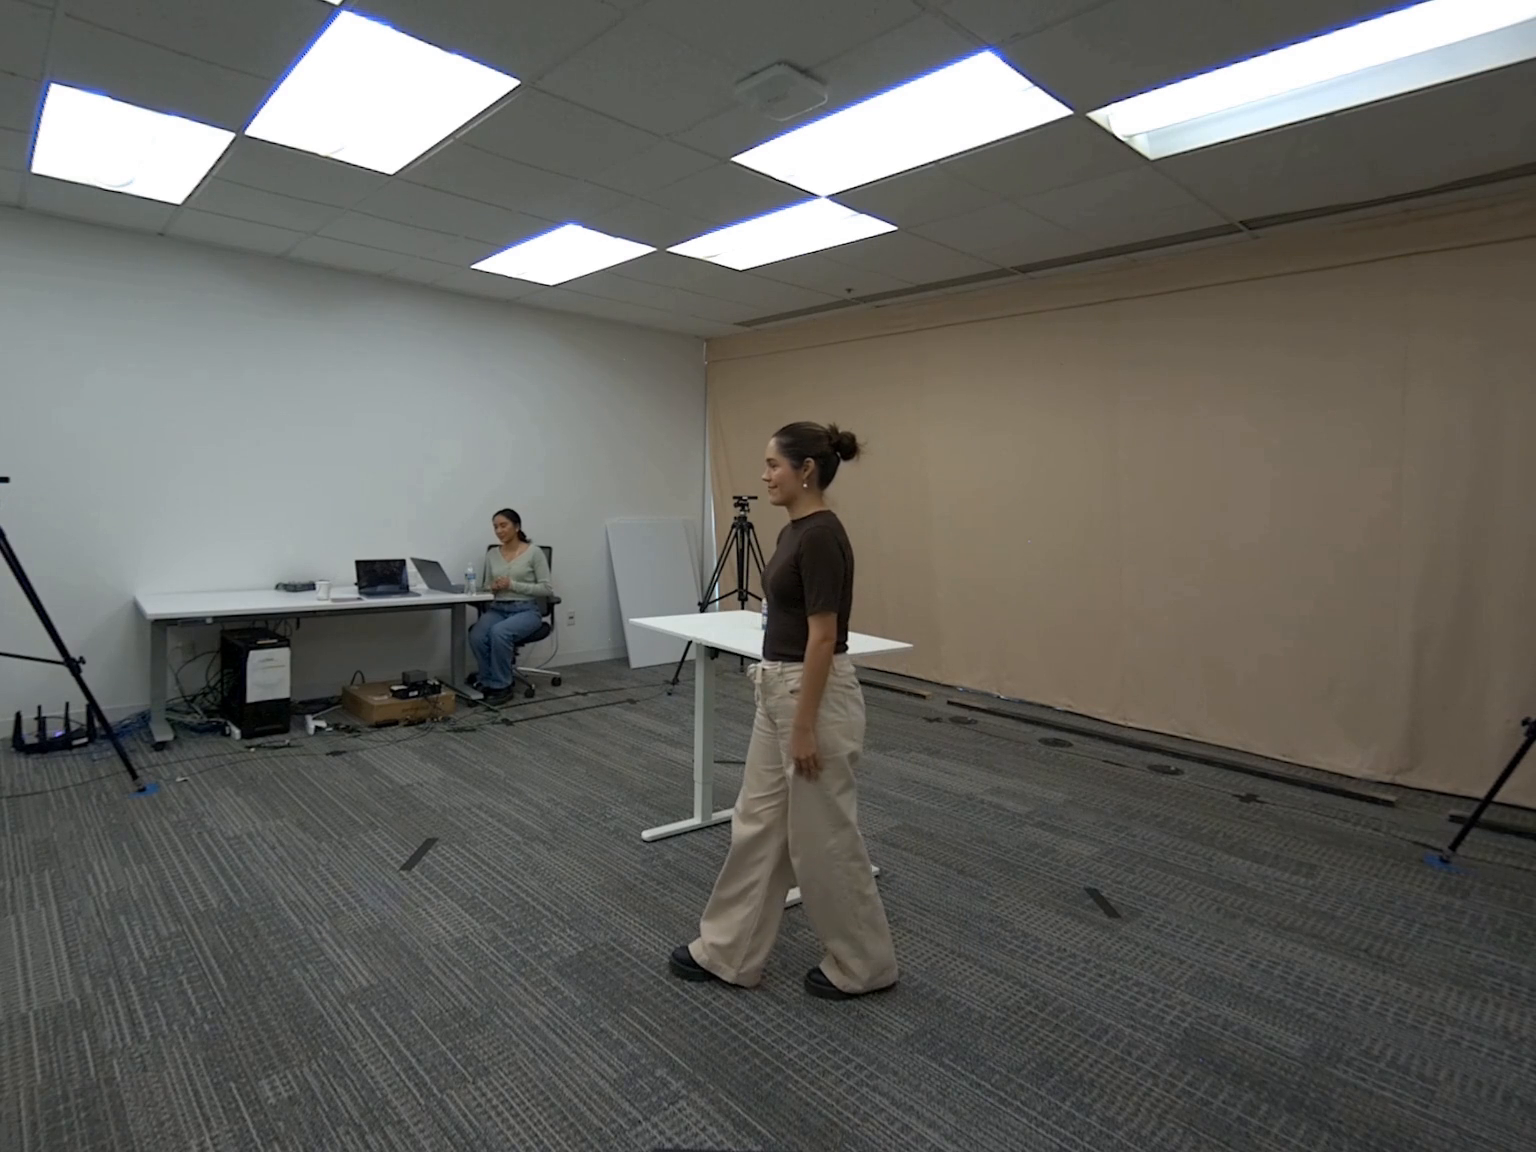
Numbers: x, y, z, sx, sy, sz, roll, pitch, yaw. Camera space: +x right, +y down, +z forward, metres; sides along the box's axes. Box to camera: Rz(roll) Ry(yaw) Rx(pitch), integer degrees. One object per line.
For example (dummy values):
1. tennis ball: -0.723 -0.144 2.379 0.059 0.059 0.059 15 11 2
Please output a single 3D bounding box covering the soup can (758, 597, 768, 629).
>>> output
1. soup can: 0.000 0.150 3.268 0.067 0.121 0.067 3 5 -2
